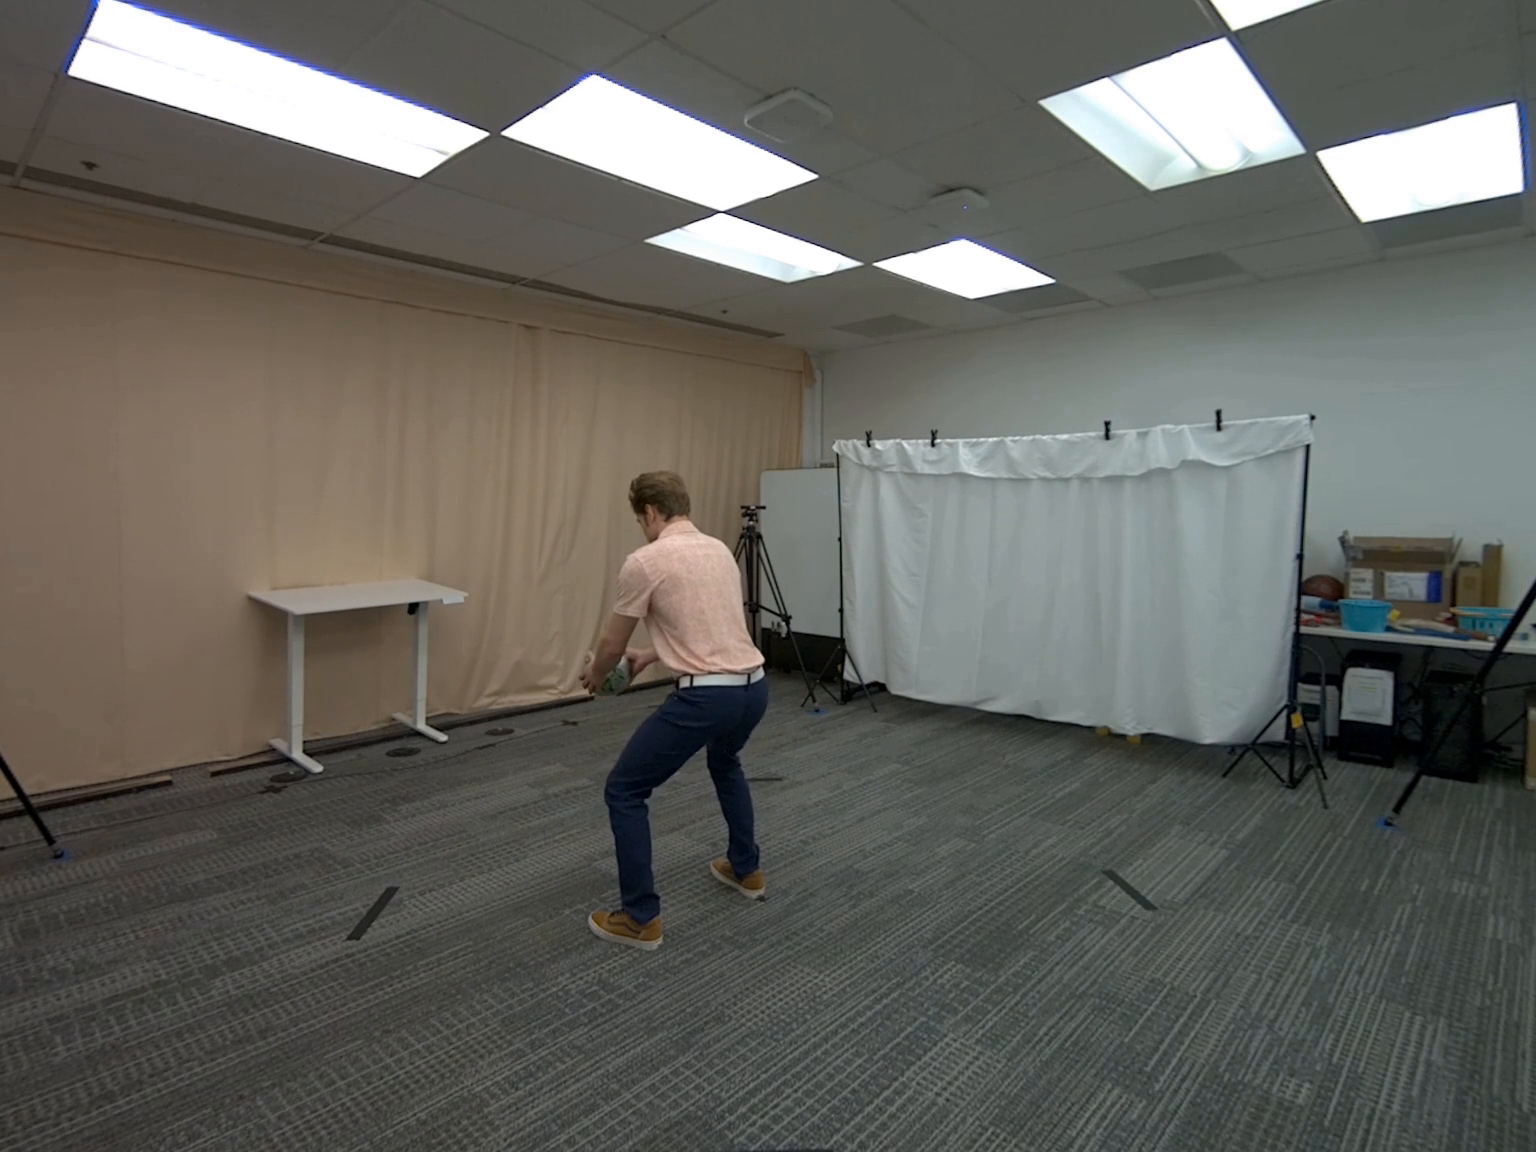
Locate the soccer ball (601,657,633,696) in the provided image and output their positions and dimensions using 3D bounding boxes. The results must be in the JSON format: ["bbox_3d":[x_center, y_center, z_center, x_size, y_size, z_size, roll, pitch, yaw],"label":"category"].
[{"bbox_3d":[-0.624,0.372,3.212,0.187,0.187,0.188,0,4,-2],"label":"soccer ball"}]
